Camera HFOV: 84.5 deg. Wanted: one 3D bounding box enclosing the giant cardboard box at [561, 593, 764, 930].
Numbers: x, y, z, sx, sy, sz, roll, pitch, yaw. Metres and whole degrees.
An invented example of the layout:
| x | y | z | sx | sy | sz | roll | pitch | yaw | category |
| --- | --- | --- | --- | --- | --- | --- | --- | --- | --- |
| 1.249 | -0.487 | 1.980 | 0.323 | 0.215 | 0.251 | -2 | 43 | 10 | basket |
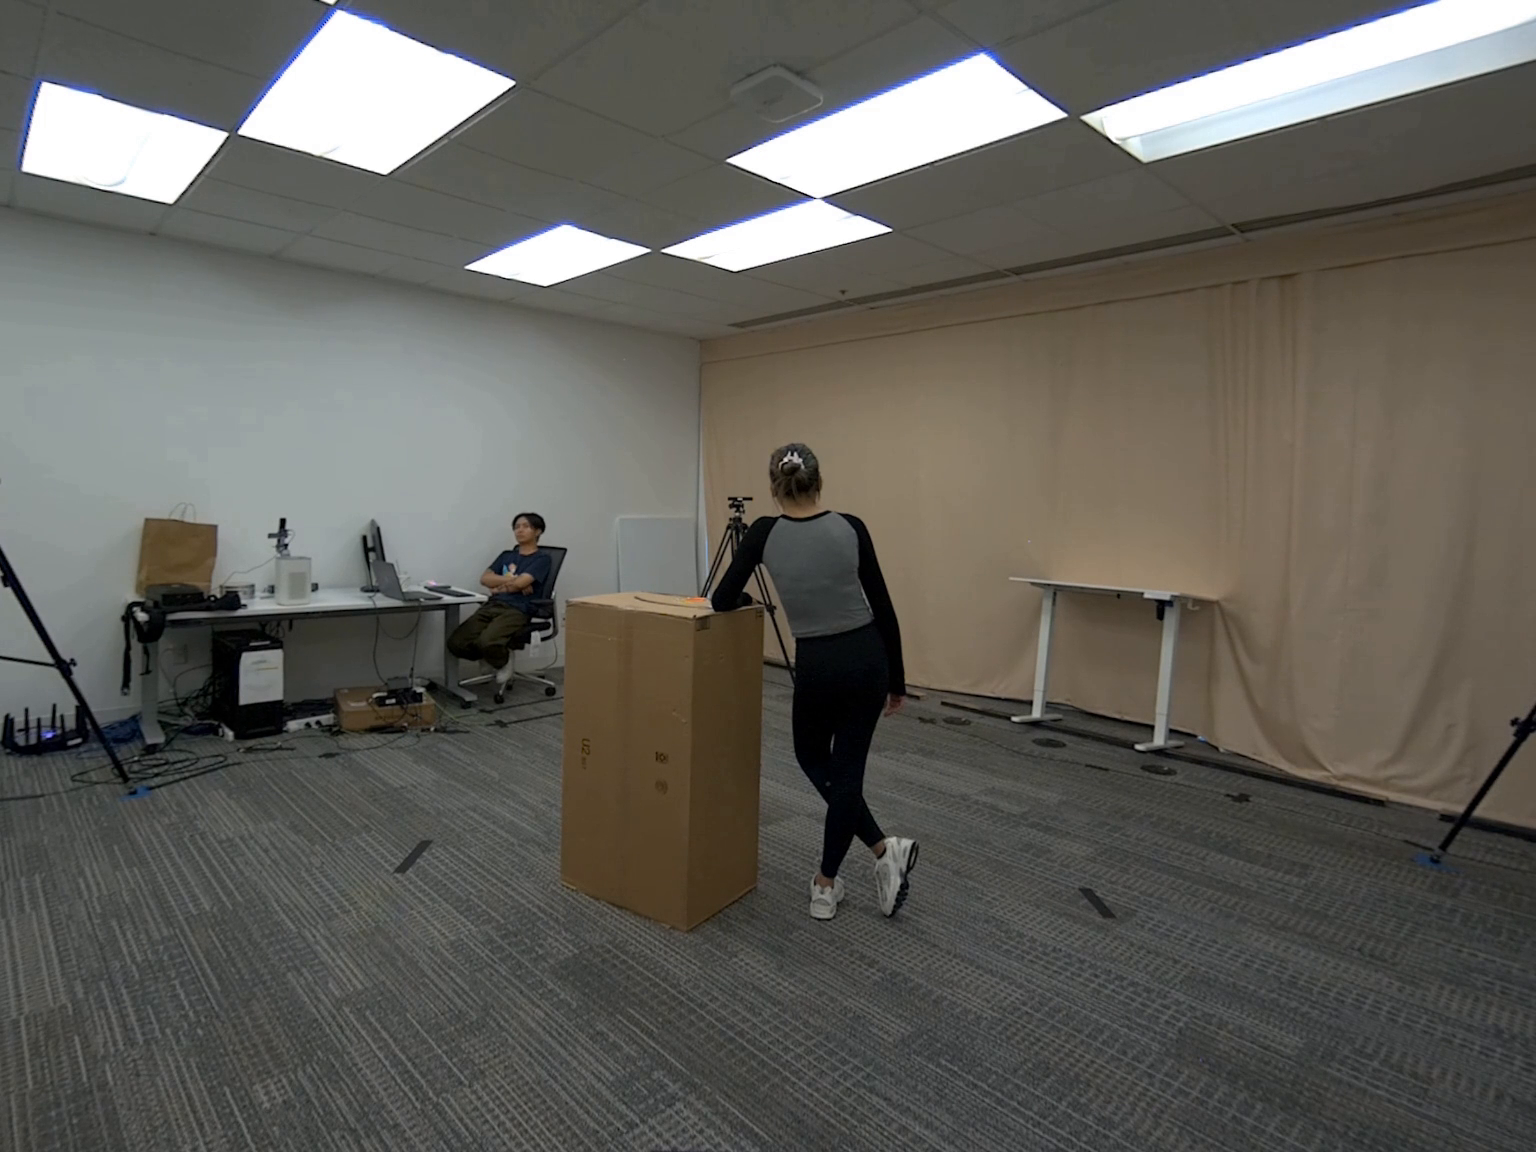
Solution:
| x | y | z | sx | sy | sz | roll | pitch | yaw | category |
| --- | --- | --- | --- | --- | --- | --- | --- | --- | --- |
| -0.384 | 0.603 | 2.999 | 0.591 | 1.023 | 0.417 | 4 | 4 | 34 | giant cardboard box |
